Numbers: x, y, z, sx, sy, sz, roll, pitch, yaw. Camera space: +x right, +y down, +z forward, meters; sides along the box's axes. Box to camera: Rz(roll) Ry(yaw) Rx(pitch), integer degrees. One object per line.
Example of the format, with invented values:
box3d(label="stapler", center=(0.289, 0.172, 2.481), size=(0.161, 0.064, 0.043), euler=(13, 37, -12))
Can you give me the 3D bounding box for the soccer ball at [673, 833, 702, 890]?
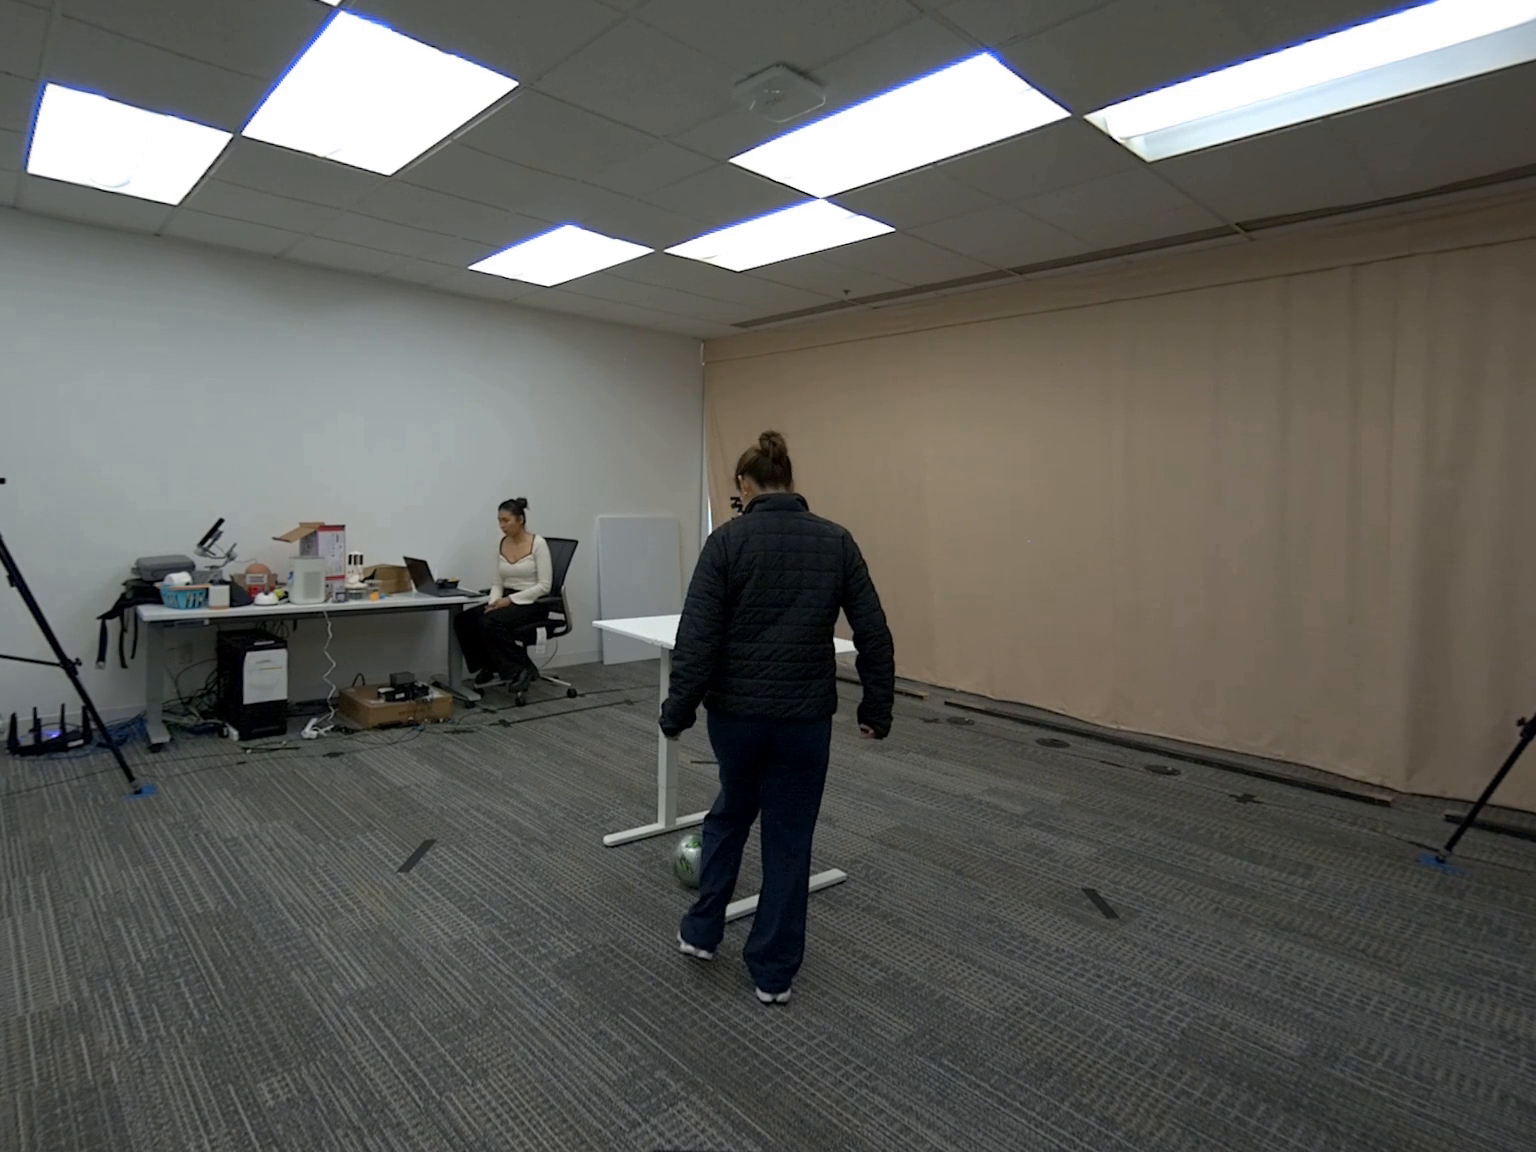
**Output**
box3d(label="soccer ball", center=(-0.267, 1.018, 3.022), size=(0.187, 0.187, 0.188), euler=(1, 4, -1))
